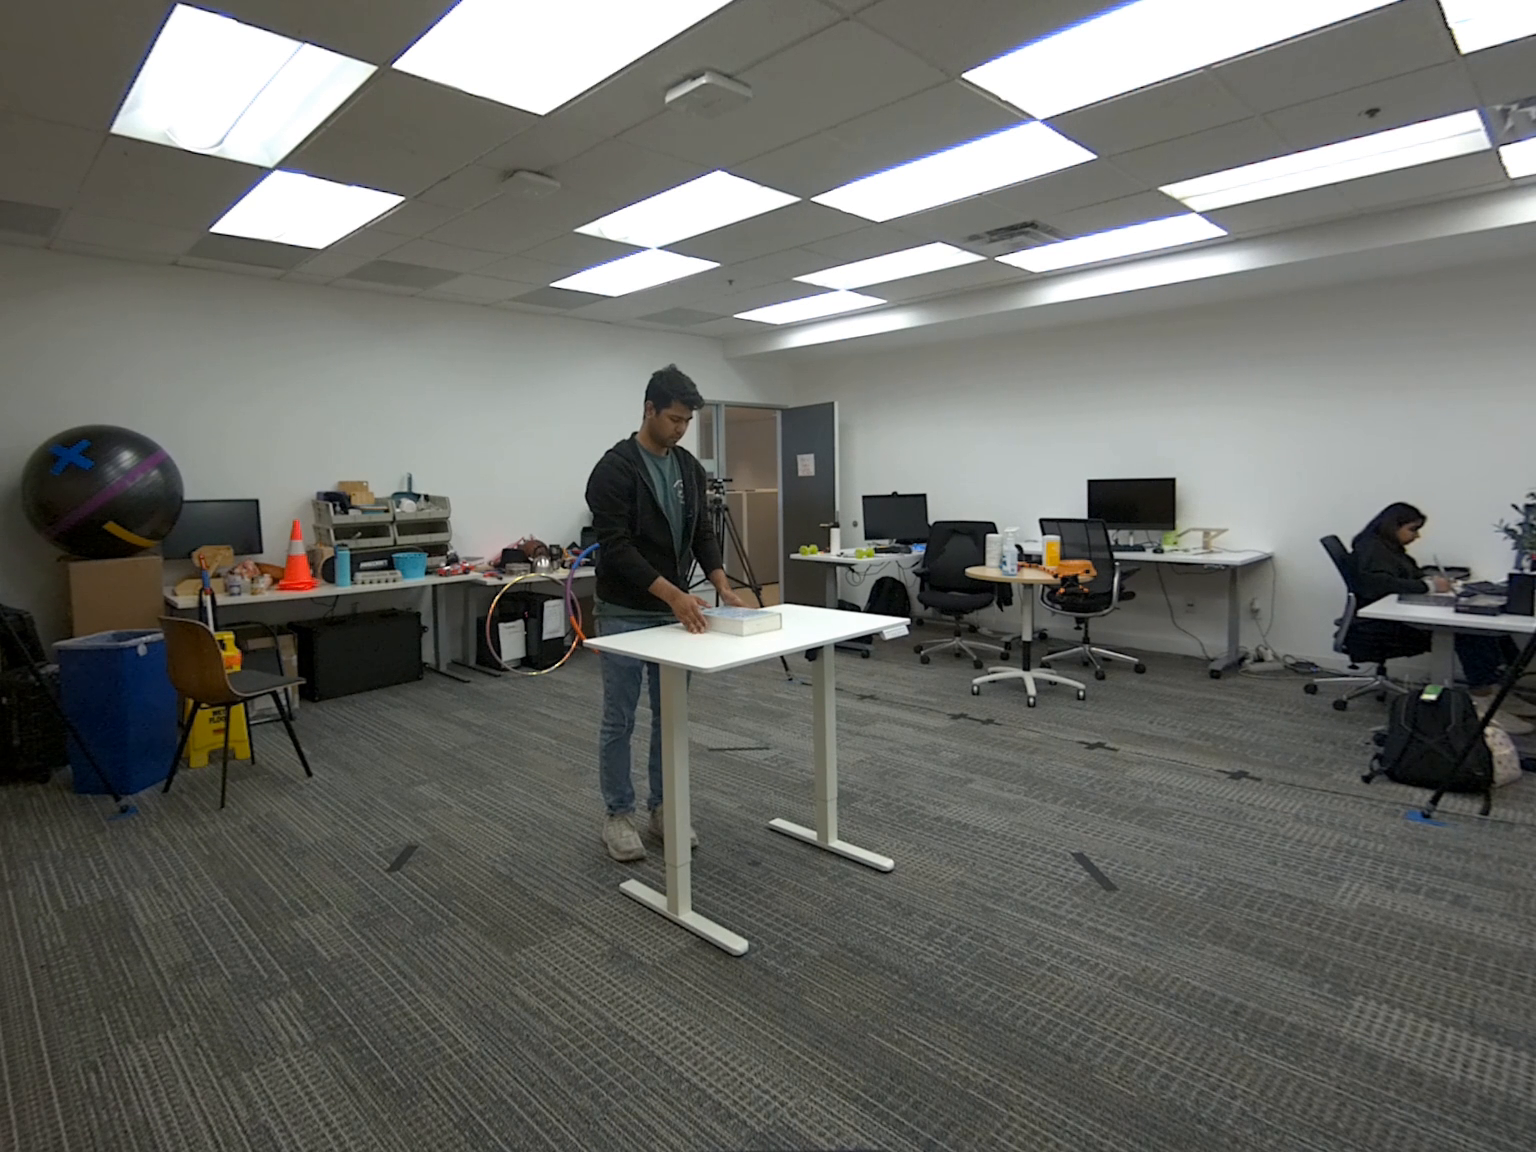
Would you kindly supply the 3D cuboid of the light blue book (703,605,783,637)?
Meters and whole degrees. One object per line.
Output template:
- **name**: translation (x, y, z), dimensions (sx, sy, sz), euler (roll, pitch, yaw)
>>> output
- **light blue book**: translation (-0.114, 0.156, 2.946), dimensions (0.186, 0.059, 0.269), euler (-7, 8, -44)
